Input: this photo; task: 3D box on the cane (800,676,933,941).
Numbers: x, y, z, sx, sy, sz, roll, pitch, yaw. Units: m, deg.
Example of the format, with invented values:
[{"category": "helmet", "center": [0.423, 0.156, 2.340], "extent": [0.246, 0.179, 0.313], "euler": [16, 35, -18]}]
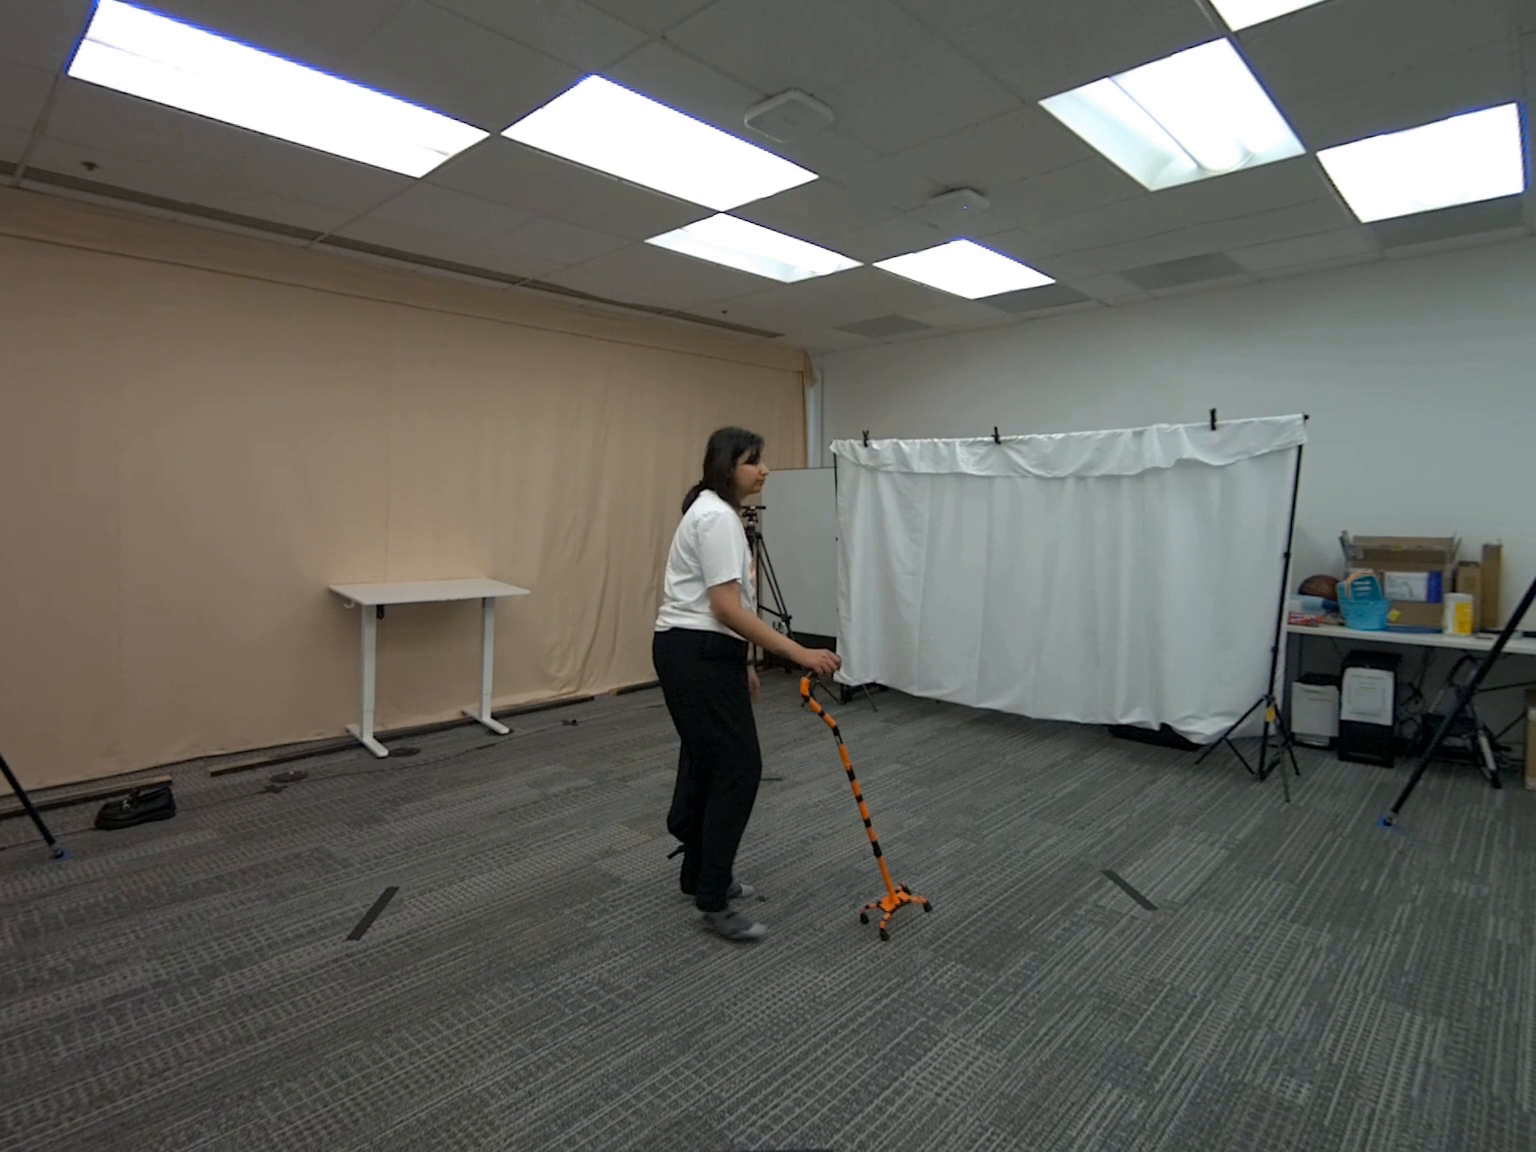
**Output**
[{"category": "cane", "center": [0.292, 0.710, 2.710], "extent": [0.203, 0.901, 0.155], "euler": [-22, 9, -21]}]
